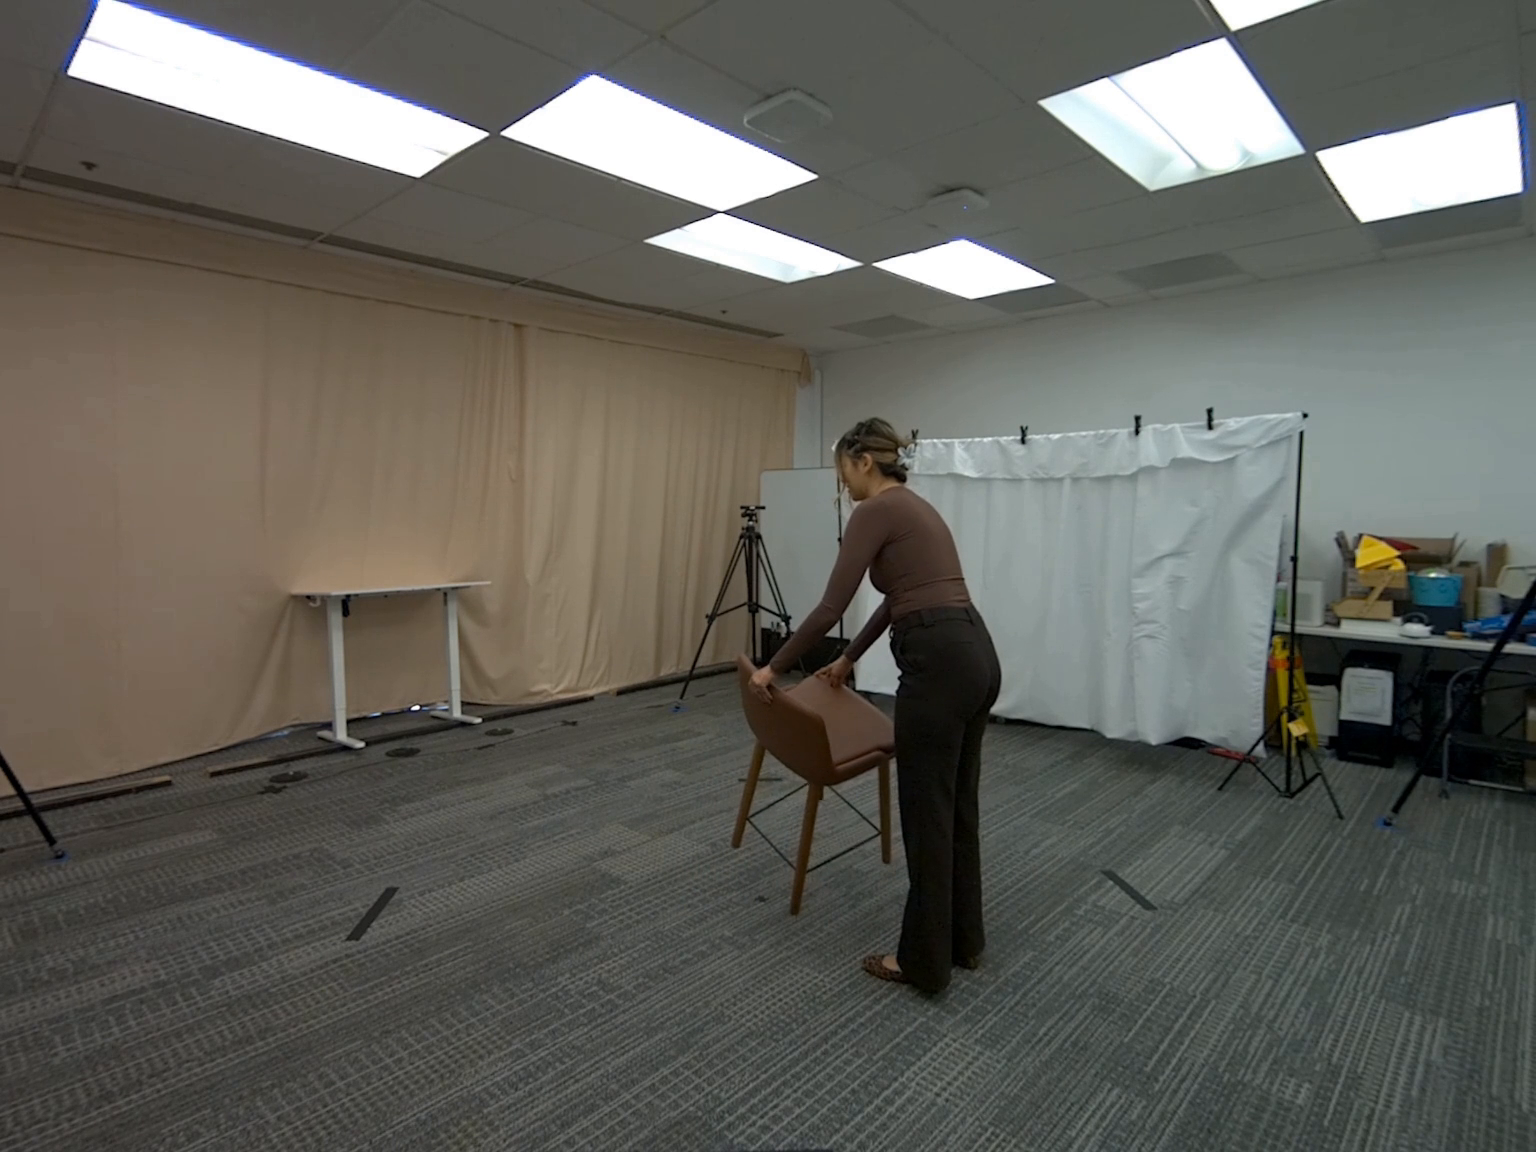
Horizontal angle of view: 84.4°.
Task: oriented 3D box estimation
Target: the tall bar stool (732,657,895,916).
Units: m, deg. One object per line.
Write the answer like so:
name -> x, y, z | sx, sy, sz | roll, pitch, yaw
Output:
tall bar stool -> 0.167, 0.646, 2.911 | 0.457, 0.876, 0.474 | -19, 34, -31
